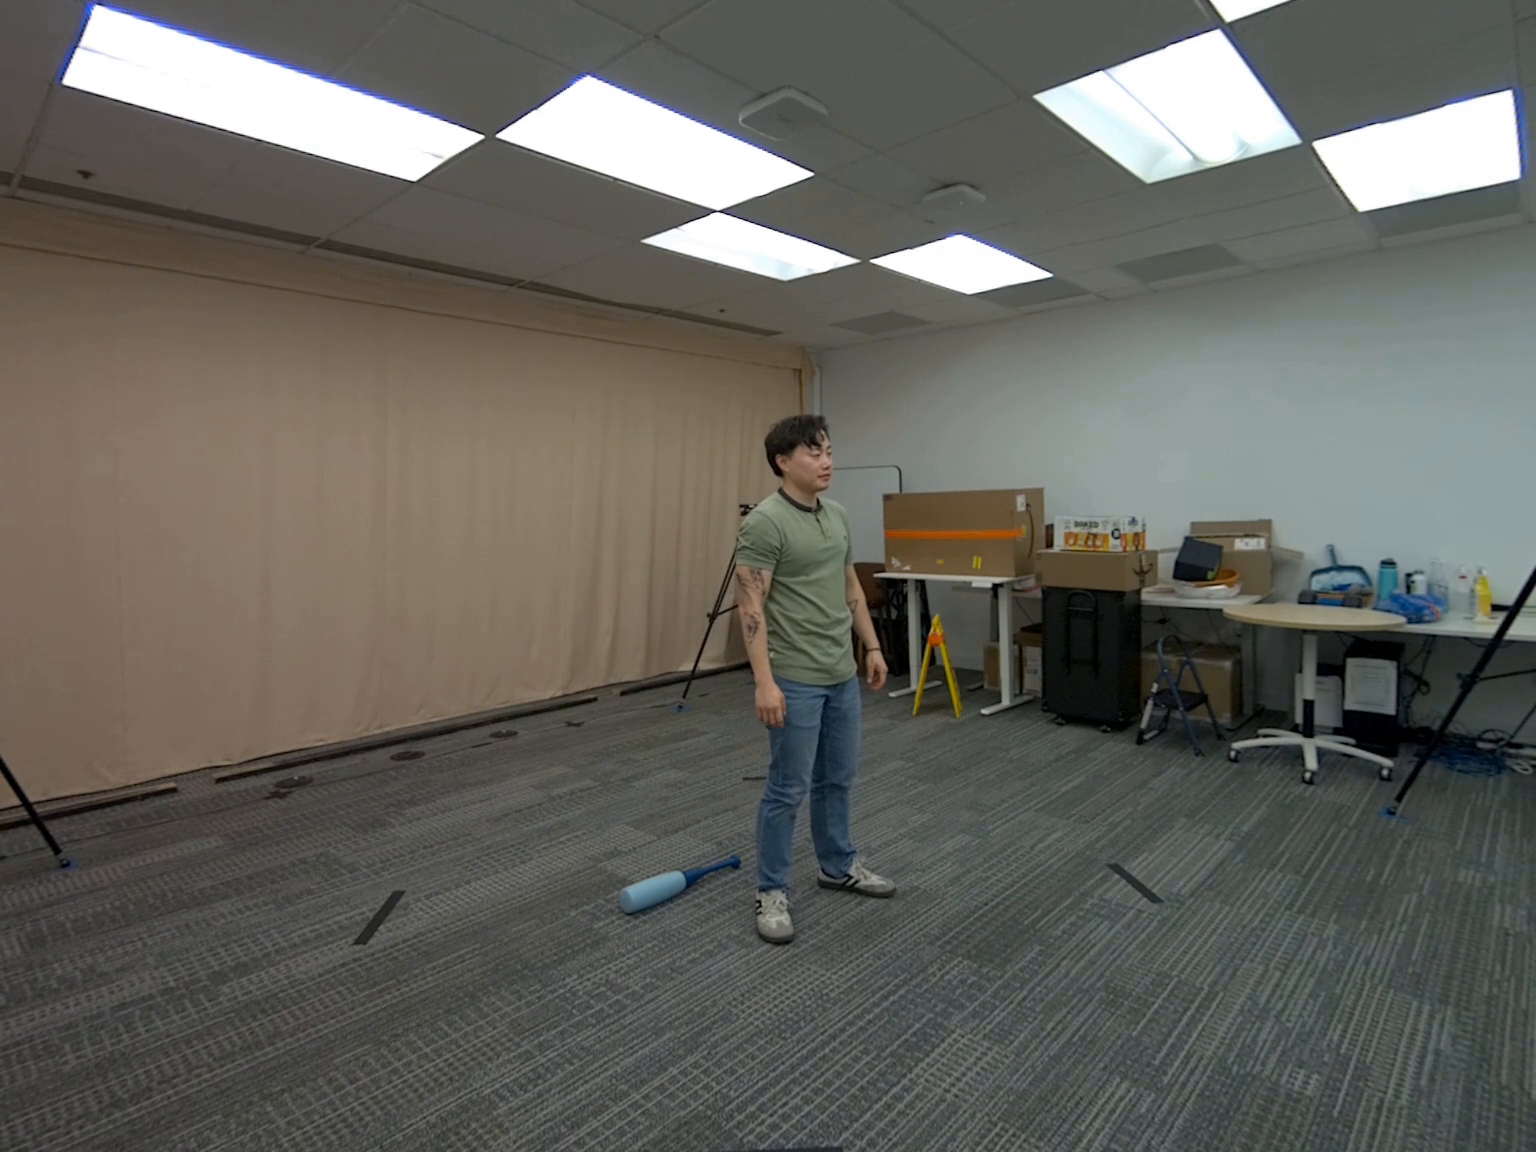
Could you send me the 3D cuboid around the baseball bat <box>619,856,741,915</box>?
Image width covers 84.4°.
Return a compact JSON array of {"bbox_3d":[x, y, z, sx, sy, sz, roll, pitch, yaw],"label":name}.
[{"bbox_3d":[-0.303,1.106,3.054,0.526,0.089,0.092,-2,3,-44],"label":"baseball bat"}]
